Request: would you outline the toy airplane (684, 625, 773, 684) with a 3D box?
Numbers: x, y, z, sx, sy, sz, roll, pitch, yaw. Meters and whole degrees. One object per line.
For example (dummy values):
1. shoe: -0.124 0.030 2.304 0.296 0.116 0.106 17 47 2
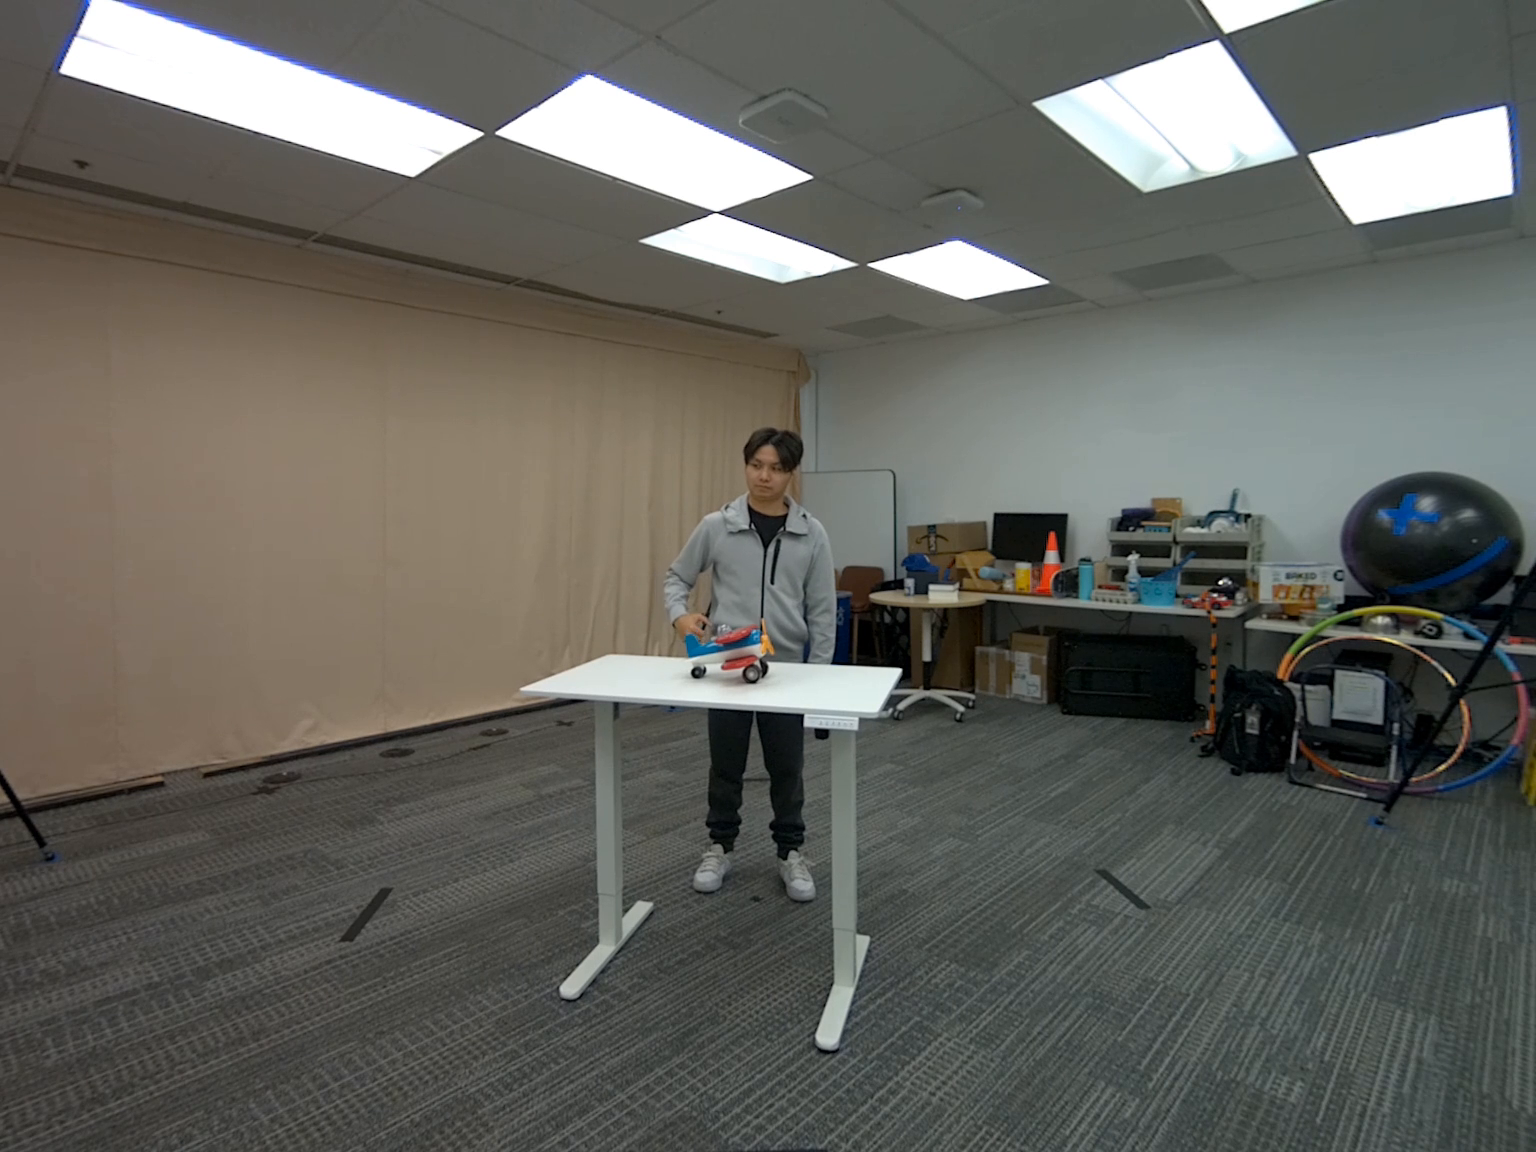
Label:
1. toy airplane: -0.124 0.231 2.462 0.256 0.156 0.255 -1 4 -12
